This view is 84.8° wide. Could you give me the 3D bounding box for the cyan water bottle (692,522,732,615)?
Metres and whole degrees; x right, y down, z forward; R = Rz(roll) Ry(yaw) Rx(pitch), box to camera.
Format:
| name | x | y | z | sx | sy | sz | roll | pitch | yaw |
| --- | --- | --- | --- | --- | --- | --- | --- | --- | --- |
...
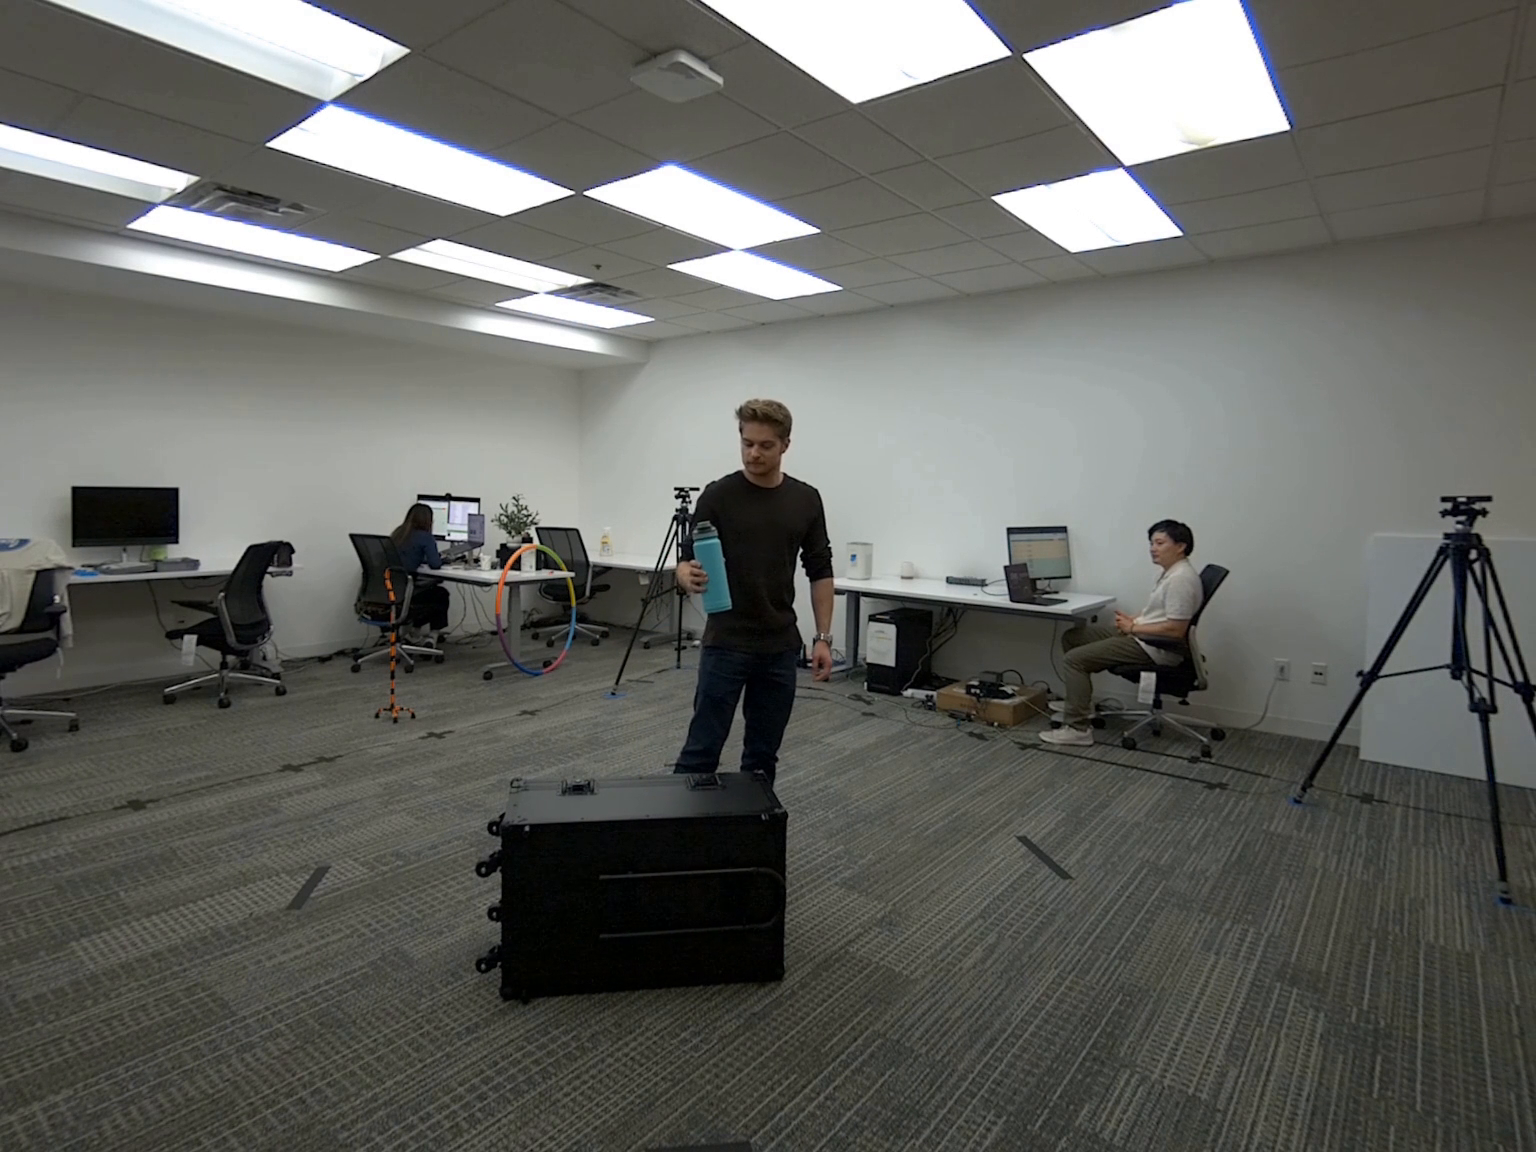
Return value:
| name | x | y | z | sx | sy | sz | roll | pitch | yaw |
| --- | --- | --- | --- | --- | --- | --- | --- | --- | --- |
| cyan water bottle | -0.193 | -0.033 | 2.691 | 0.092 | 0.283 | 0.092 | -11 | 0 | -2 |
